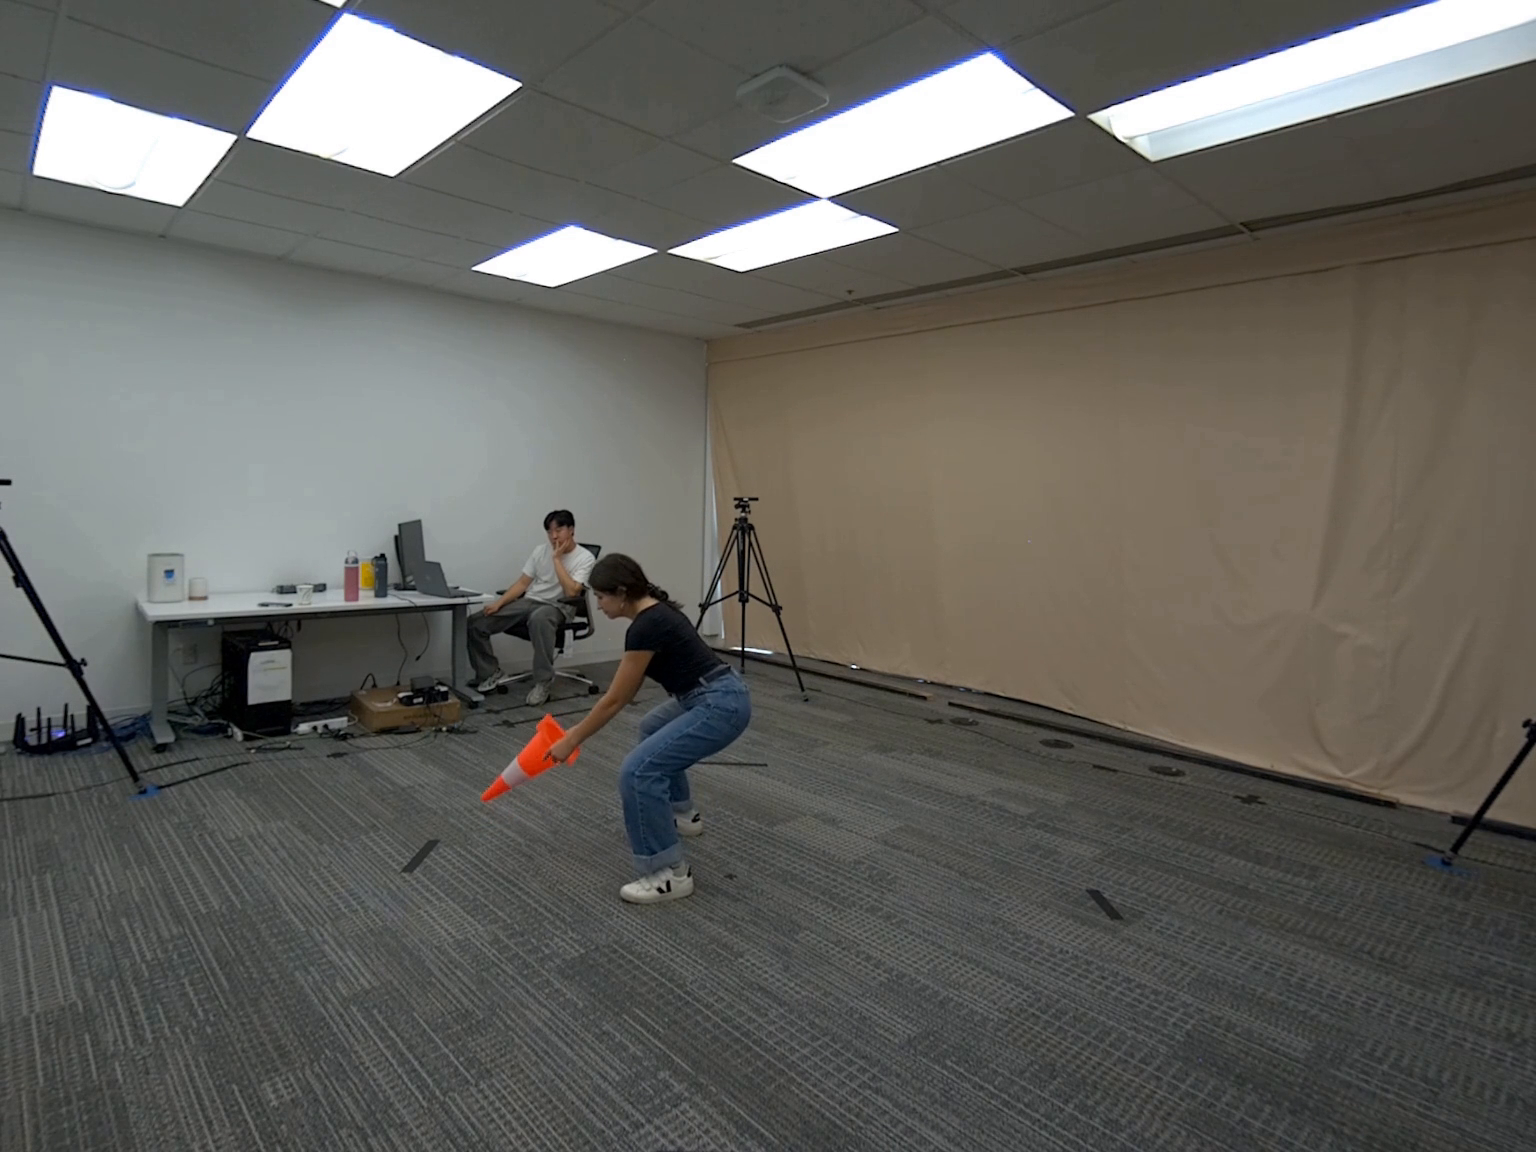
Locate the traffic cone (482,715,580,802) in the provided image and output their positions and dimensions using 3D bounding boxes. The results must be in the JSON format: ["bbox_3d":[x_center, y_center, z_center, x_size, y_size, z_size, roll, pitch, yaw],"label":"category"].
[{"bbox_3d":[-0.952,0.743,3.241,0.383,0.203,0.205,-39,7,0],"label":"traffic cone"}]
